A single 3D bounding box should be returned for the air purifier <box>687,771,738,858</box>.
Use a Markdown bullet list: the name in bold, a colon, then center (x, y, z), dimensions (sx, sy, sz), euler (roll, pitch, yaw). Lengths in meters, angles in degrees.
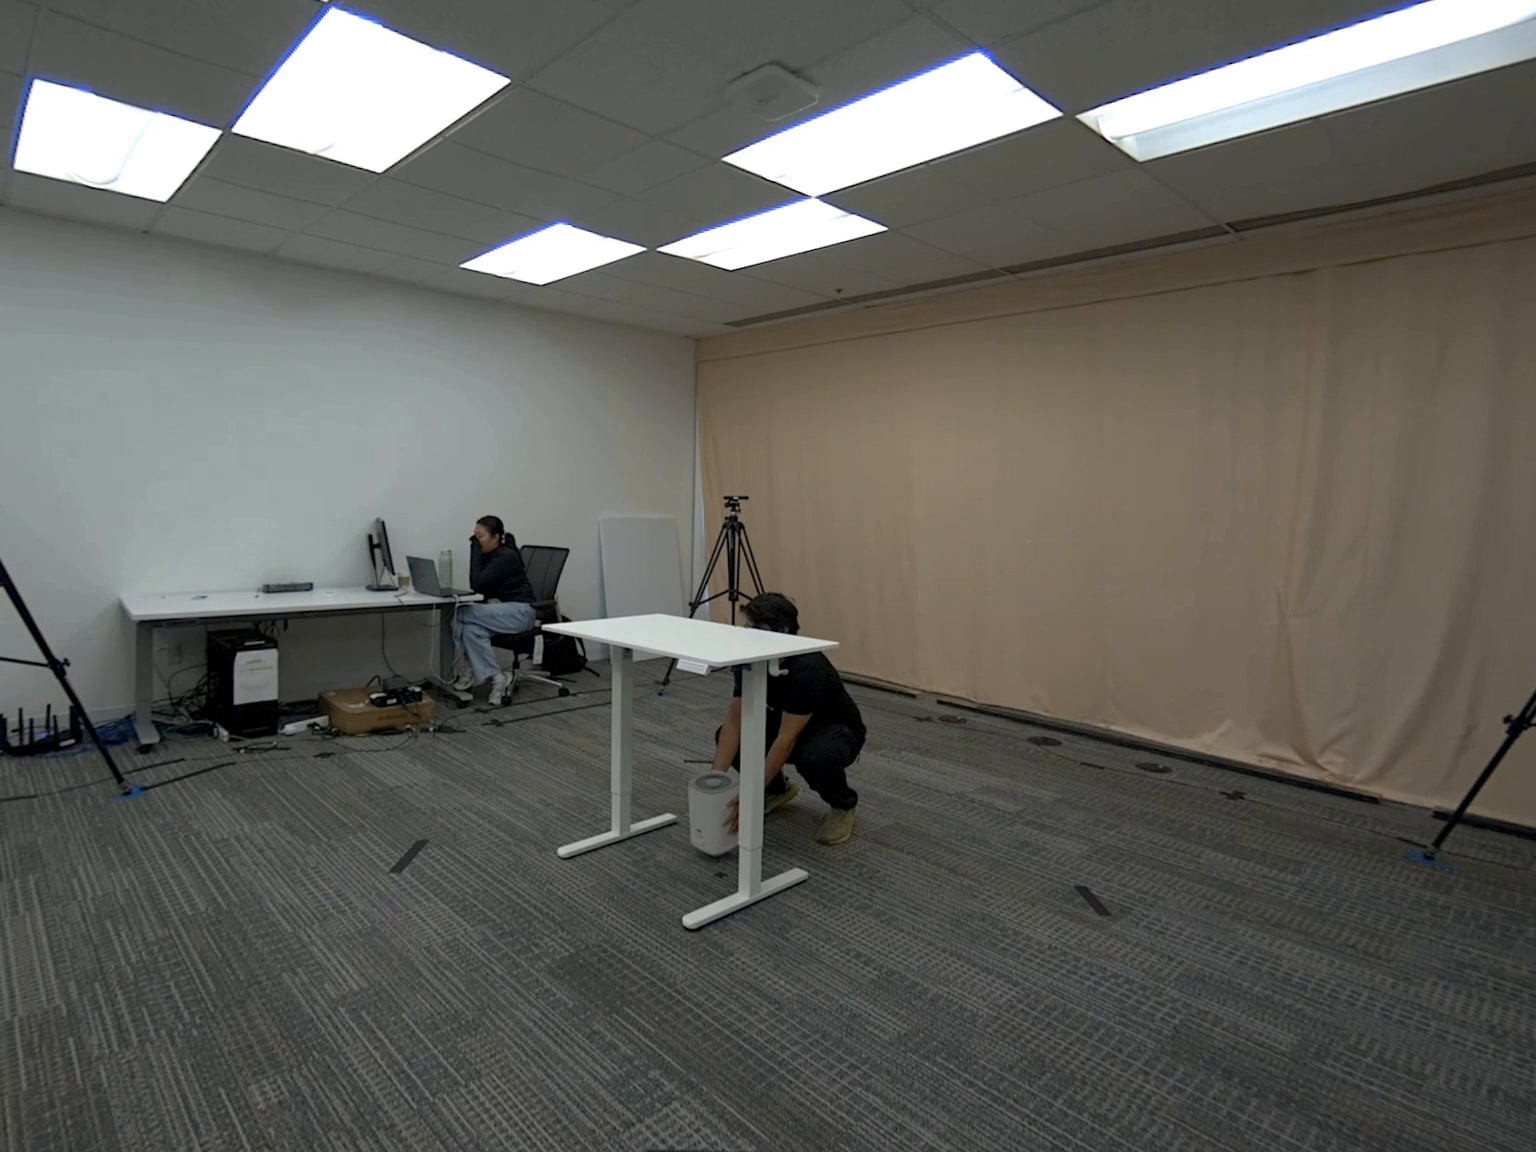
- **air purifier**: center (-0.214, 0.919, 3.243), dimensions (0.175, 0.263, 0.168), euler (8, 14, 43)
